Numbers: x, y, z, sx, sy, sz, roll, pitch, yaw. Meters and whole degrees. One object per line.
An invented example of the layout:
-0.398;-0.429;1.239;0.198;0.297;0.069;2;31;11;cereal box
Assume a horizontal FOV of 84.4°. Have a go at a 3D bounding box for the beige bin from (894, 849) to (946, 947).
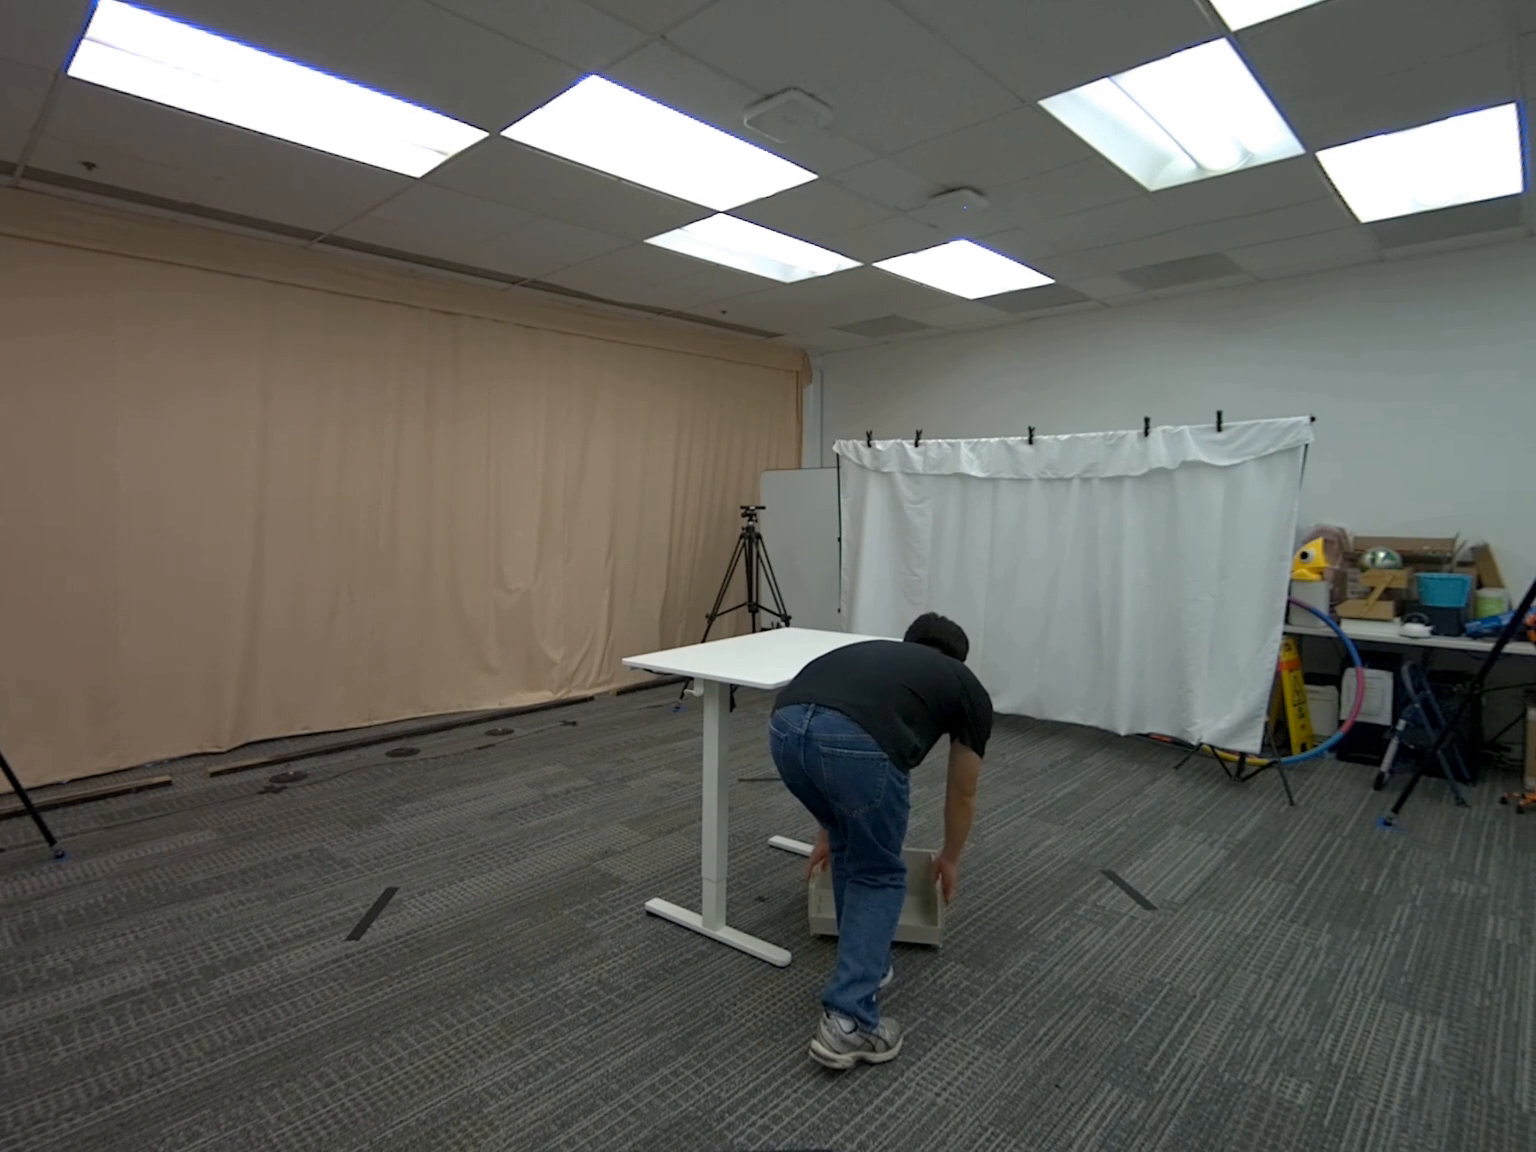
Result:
0.366;1.067;2.811;0.427;0.188;0.373;1;4;10;beige bin
